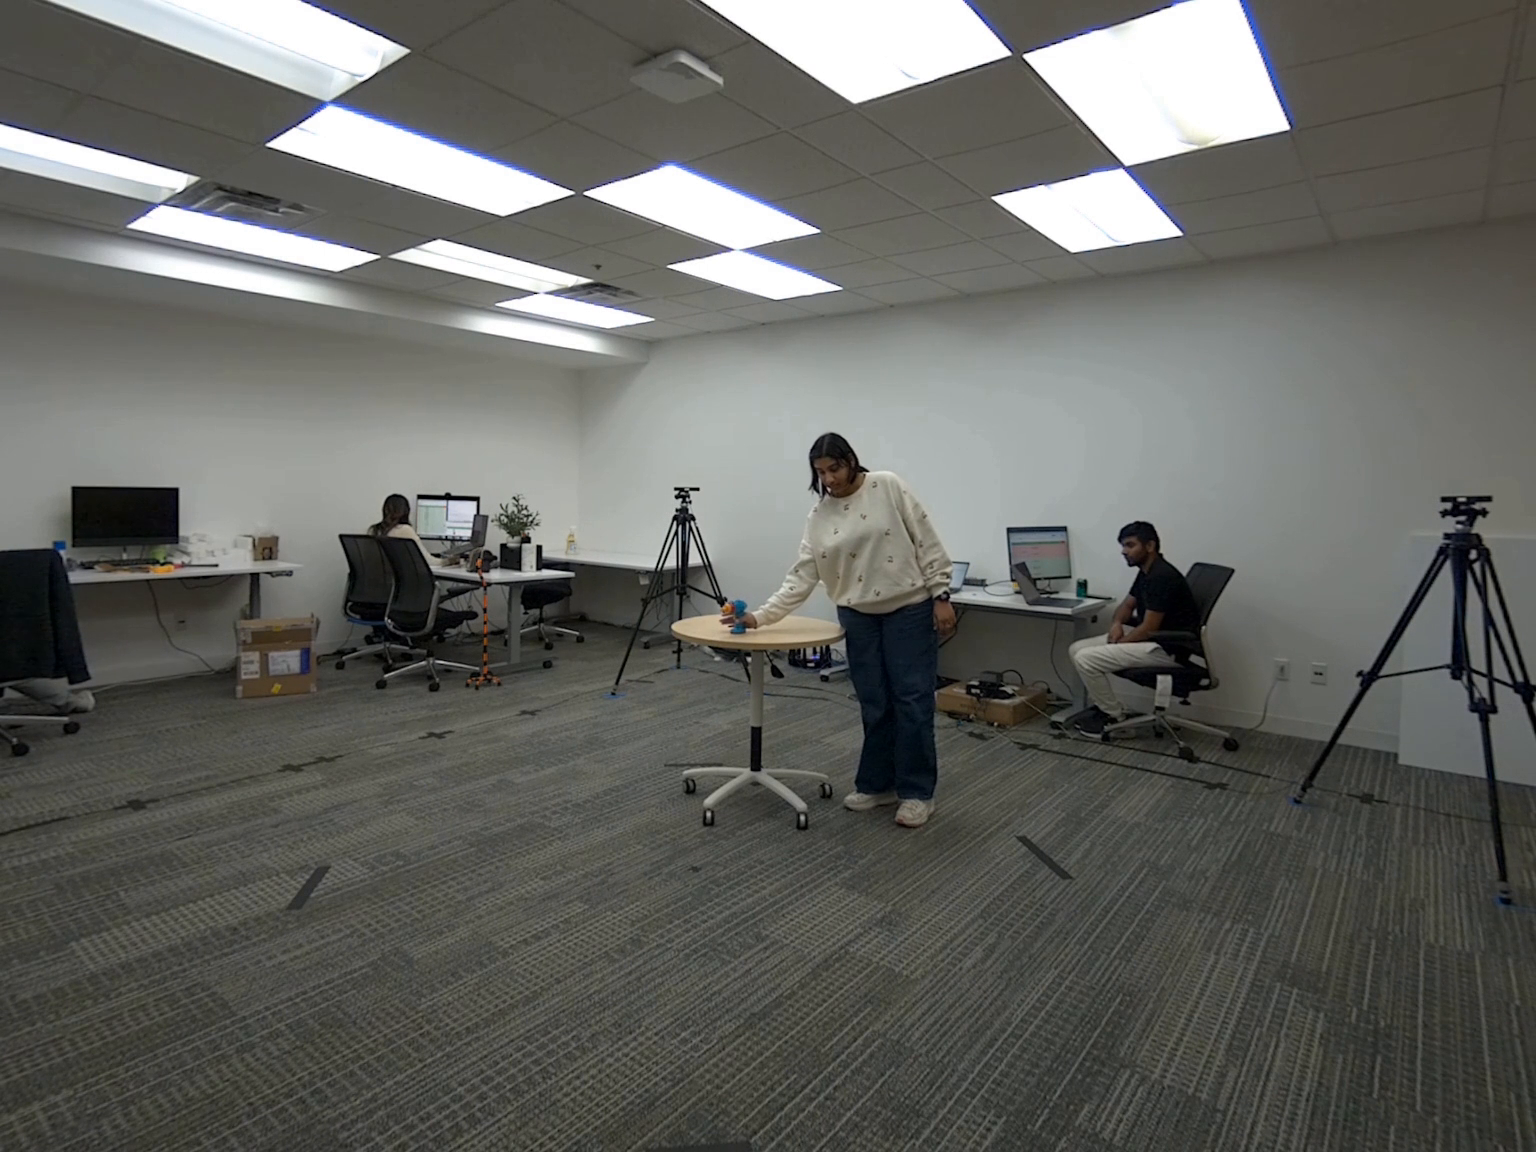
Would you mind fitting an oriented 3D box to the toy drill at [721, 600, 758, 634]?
[{"bbox_3d":[-0.154,0.170,3.580,0.063,0.145,0.165,5,6,38],"label":"toy drill"}]
